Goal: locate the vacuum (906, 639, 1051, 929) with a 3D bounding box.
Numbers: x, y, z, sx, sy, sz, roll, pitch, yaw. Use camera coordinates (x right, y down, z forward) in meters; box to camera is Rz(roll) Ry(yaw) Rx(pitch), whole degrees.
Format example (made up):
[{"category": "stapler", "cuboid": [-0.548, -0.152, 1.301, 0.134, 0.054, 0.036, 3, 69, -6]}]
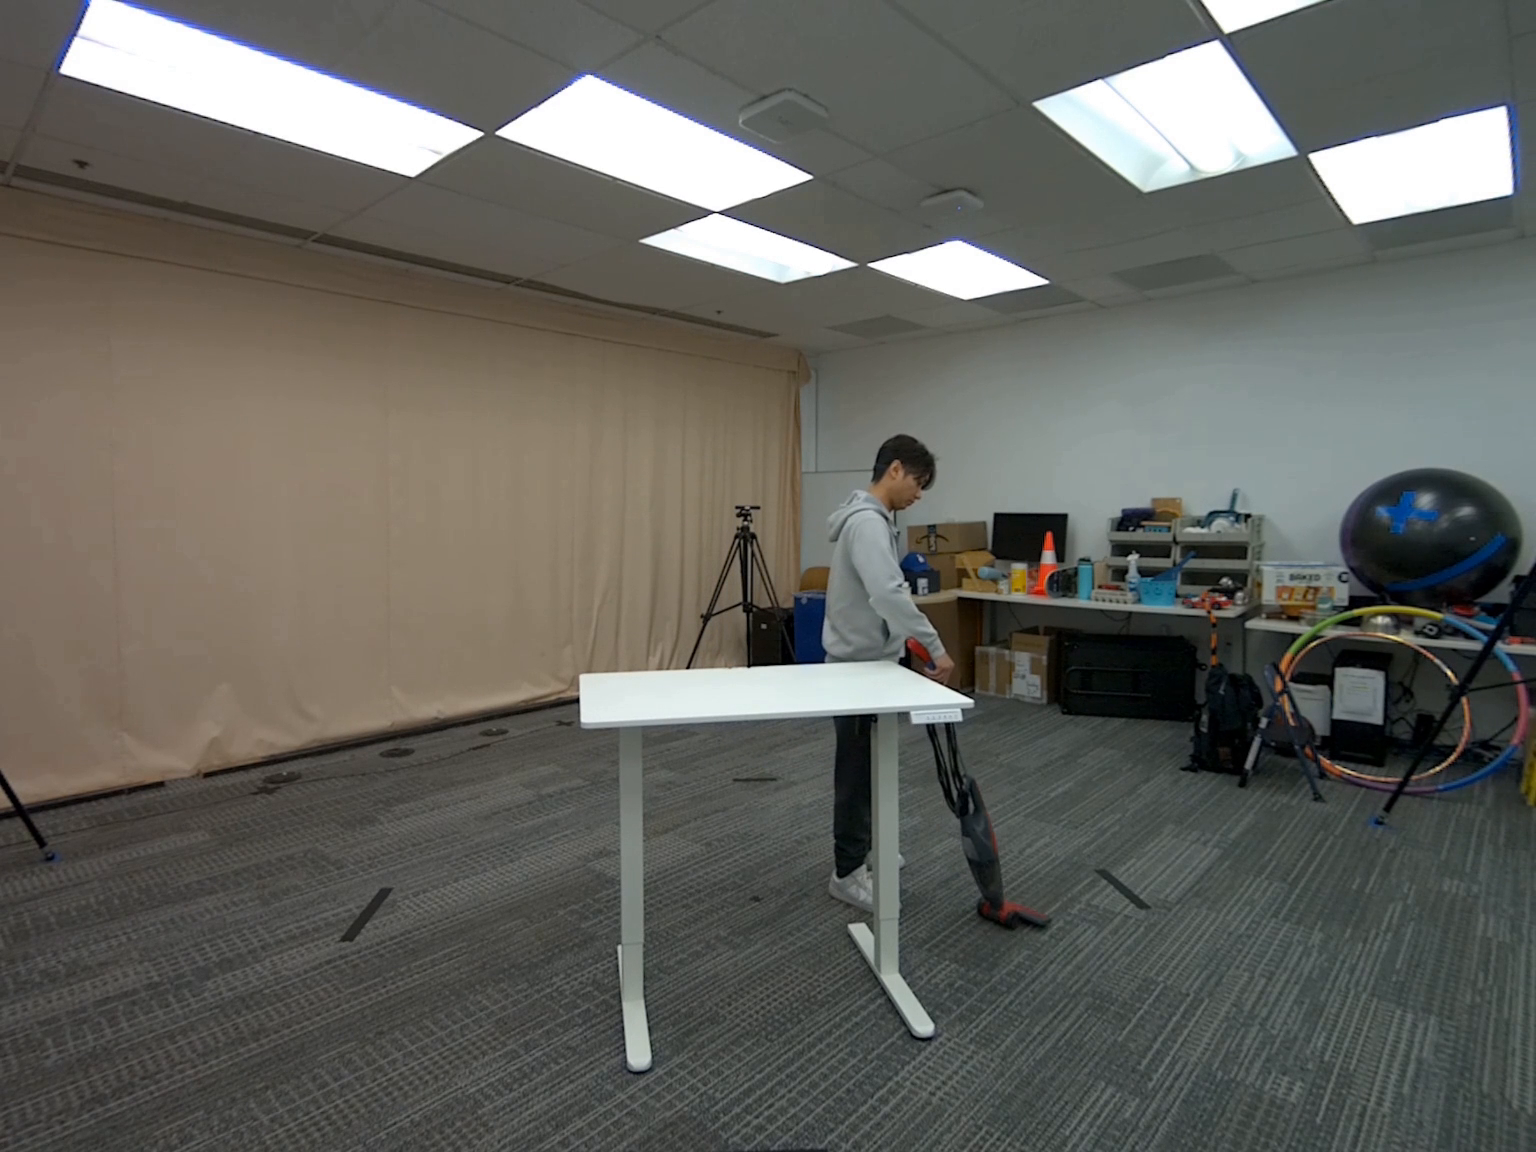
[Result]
[{"category": "vacuum", "cuboid": [0.640, 0.683, 2.714, 0.141, 1.035, 0.260, -30, 18, -36]}]
